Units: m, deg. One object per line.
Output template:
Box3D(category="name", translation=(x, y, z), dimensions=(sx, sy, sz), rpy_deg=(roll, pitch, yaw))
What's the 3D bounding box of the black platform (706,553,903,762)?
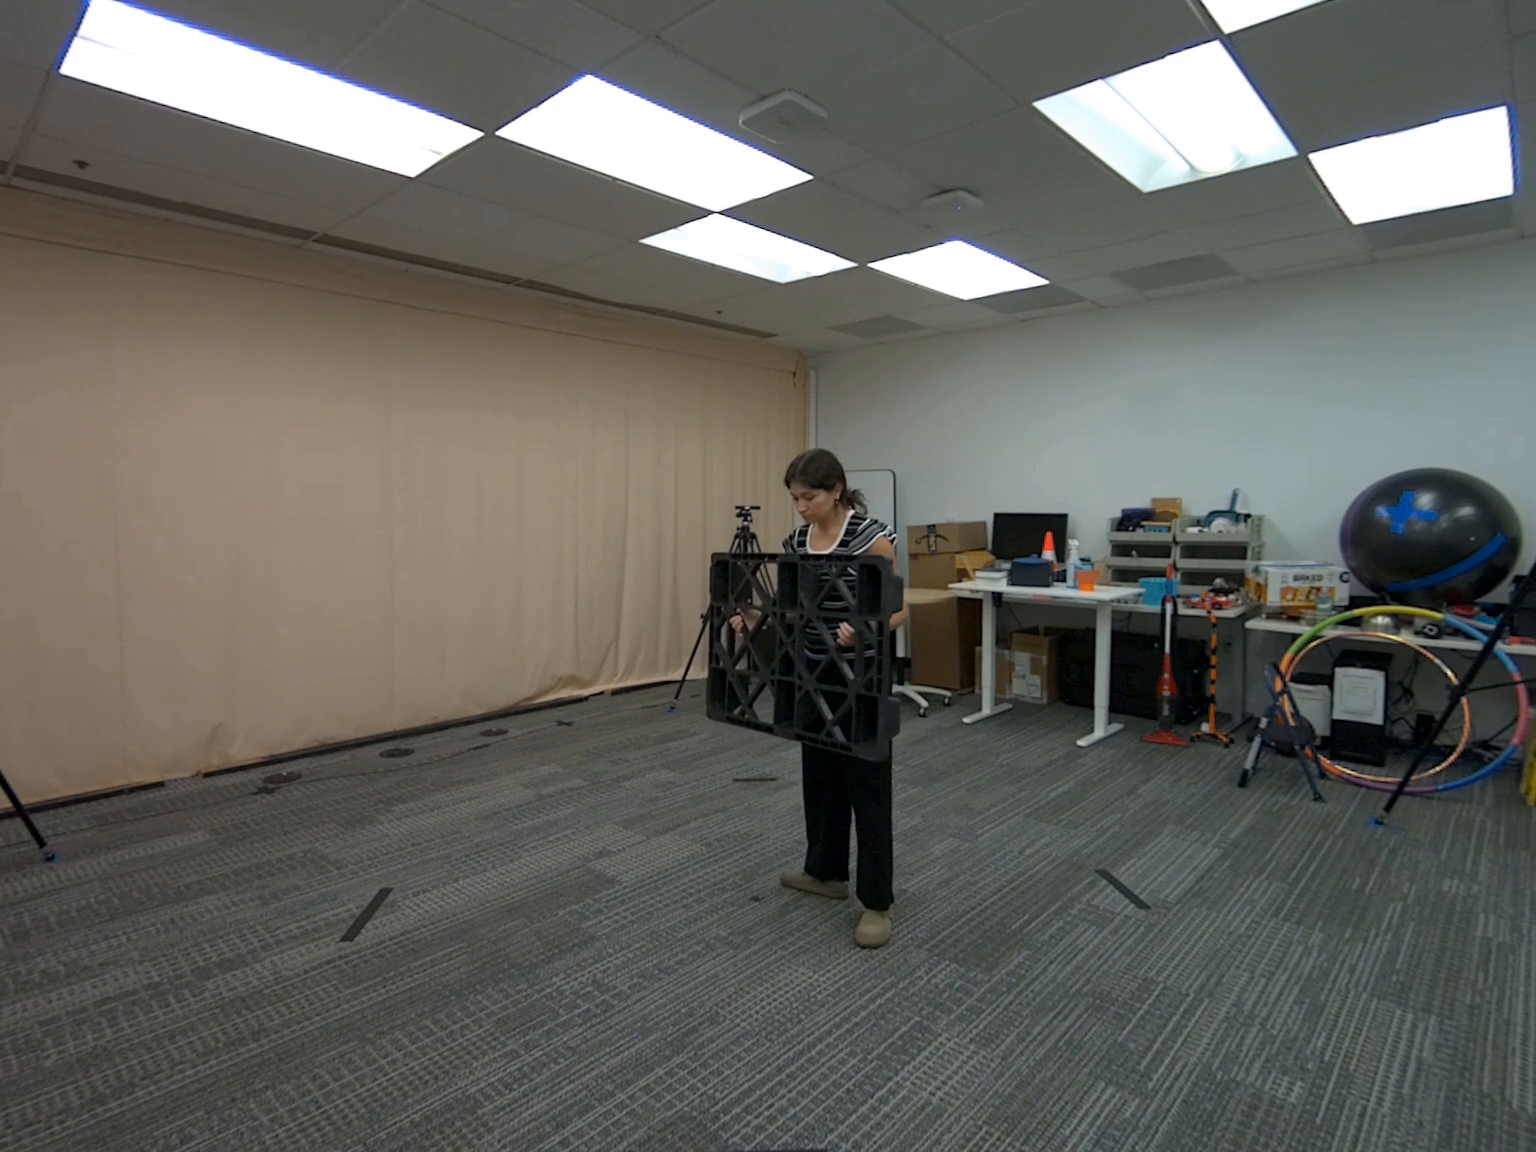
Box3D(category="black platform", translation=(0.110, 0.226, 2.772), dimensions=(0.139, 0.605, 0.832), rpy_deg=(4, -1, -41))
